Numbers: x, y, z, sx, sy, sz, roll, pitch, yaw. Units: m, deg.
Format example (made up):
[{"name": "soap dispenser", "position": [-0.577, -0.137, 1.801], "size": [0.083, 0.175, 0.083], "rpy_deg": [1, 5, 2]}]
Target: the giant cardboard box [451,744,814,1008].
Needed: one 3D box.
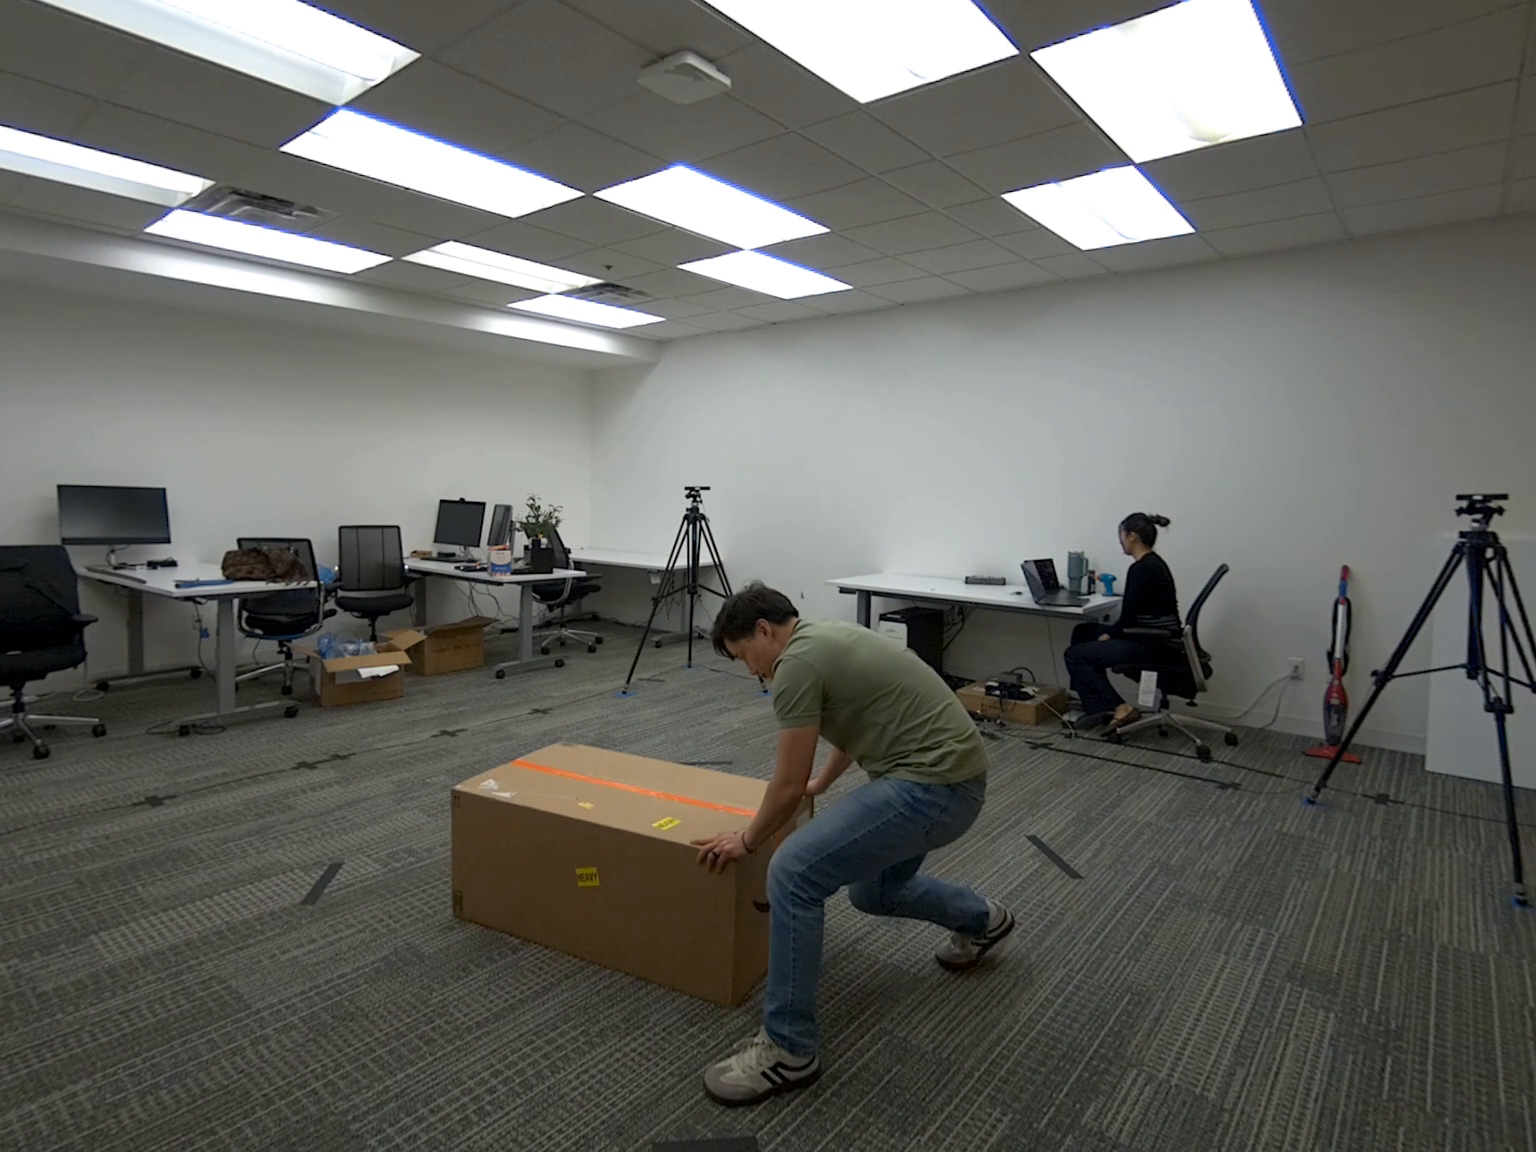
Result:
[{"name": "giant cardboard box", "position": [-0.444, 0.886, 2.740], "size": [1.054, 0.424, 0.565], "rpy_deg": [4, 6, 26]}]
